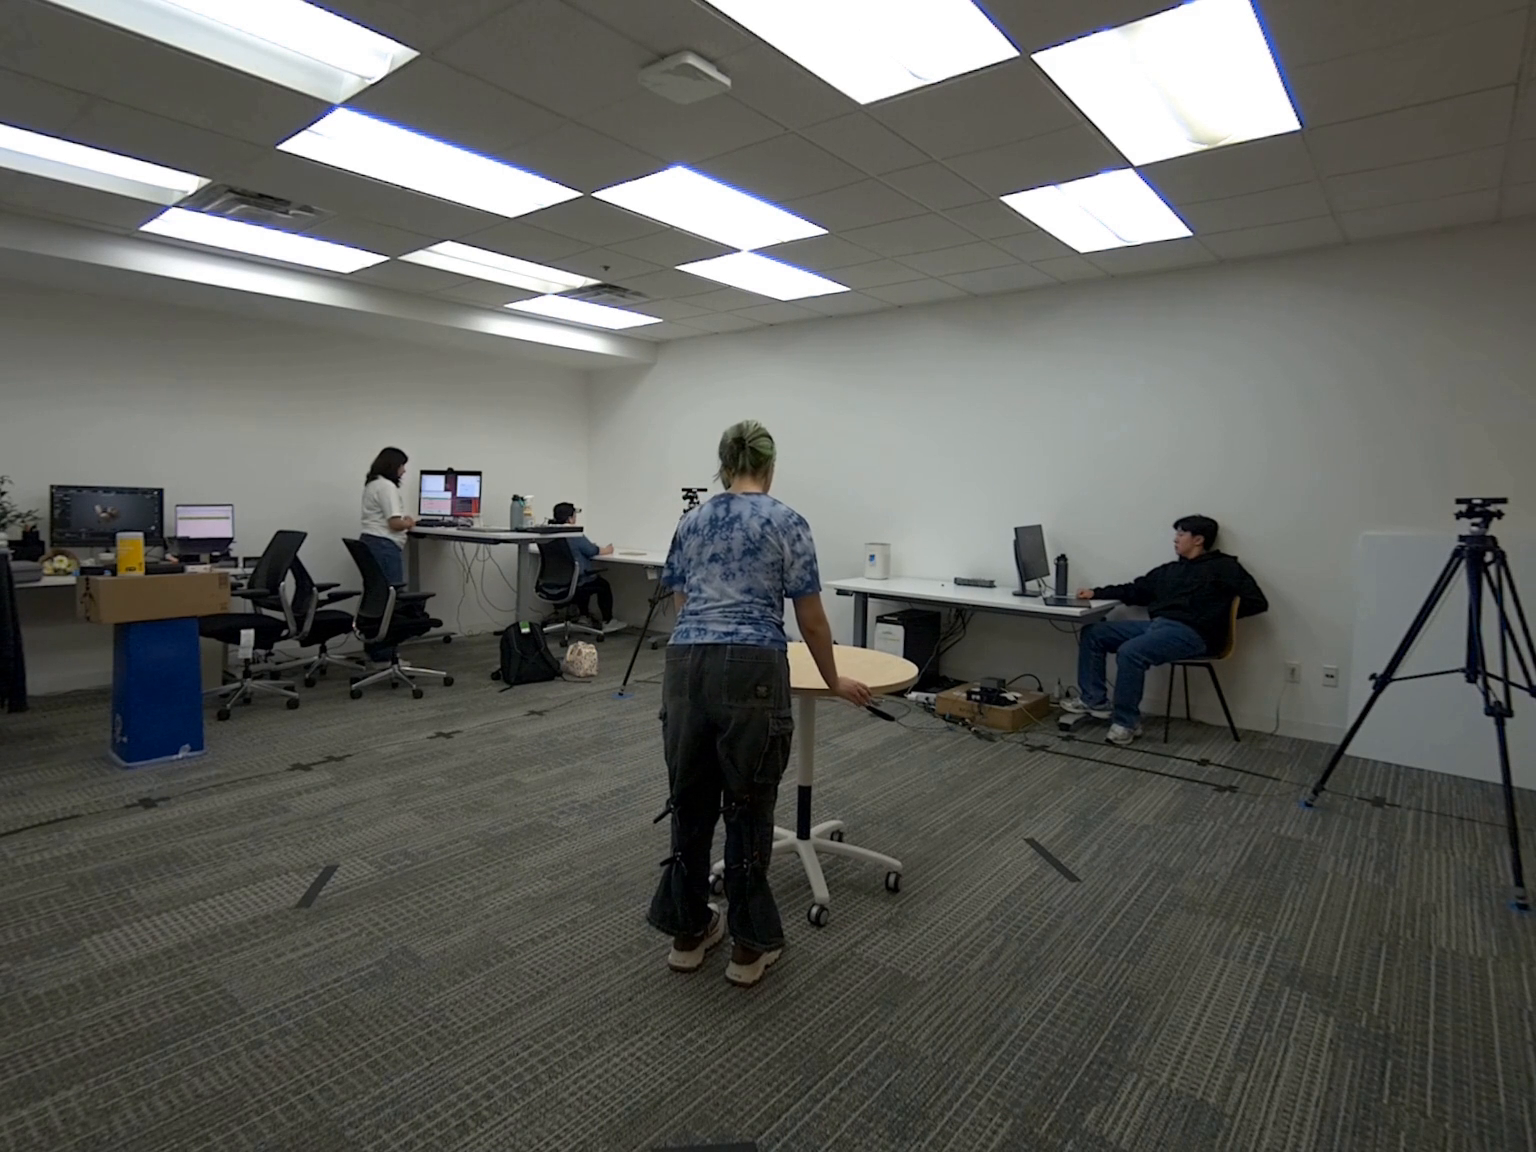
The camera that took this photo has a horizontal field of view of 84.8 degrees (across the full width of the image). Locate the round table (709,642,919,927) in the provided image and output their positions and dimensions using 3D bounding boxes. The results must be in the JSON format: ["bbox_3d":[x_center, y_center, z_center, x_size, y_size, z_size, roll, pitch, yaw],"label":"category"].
[{"bbox_3d":[0.130,0.697,3.050,0.763,0.791,0.768,1,4,-2],"label":"round table"}]
